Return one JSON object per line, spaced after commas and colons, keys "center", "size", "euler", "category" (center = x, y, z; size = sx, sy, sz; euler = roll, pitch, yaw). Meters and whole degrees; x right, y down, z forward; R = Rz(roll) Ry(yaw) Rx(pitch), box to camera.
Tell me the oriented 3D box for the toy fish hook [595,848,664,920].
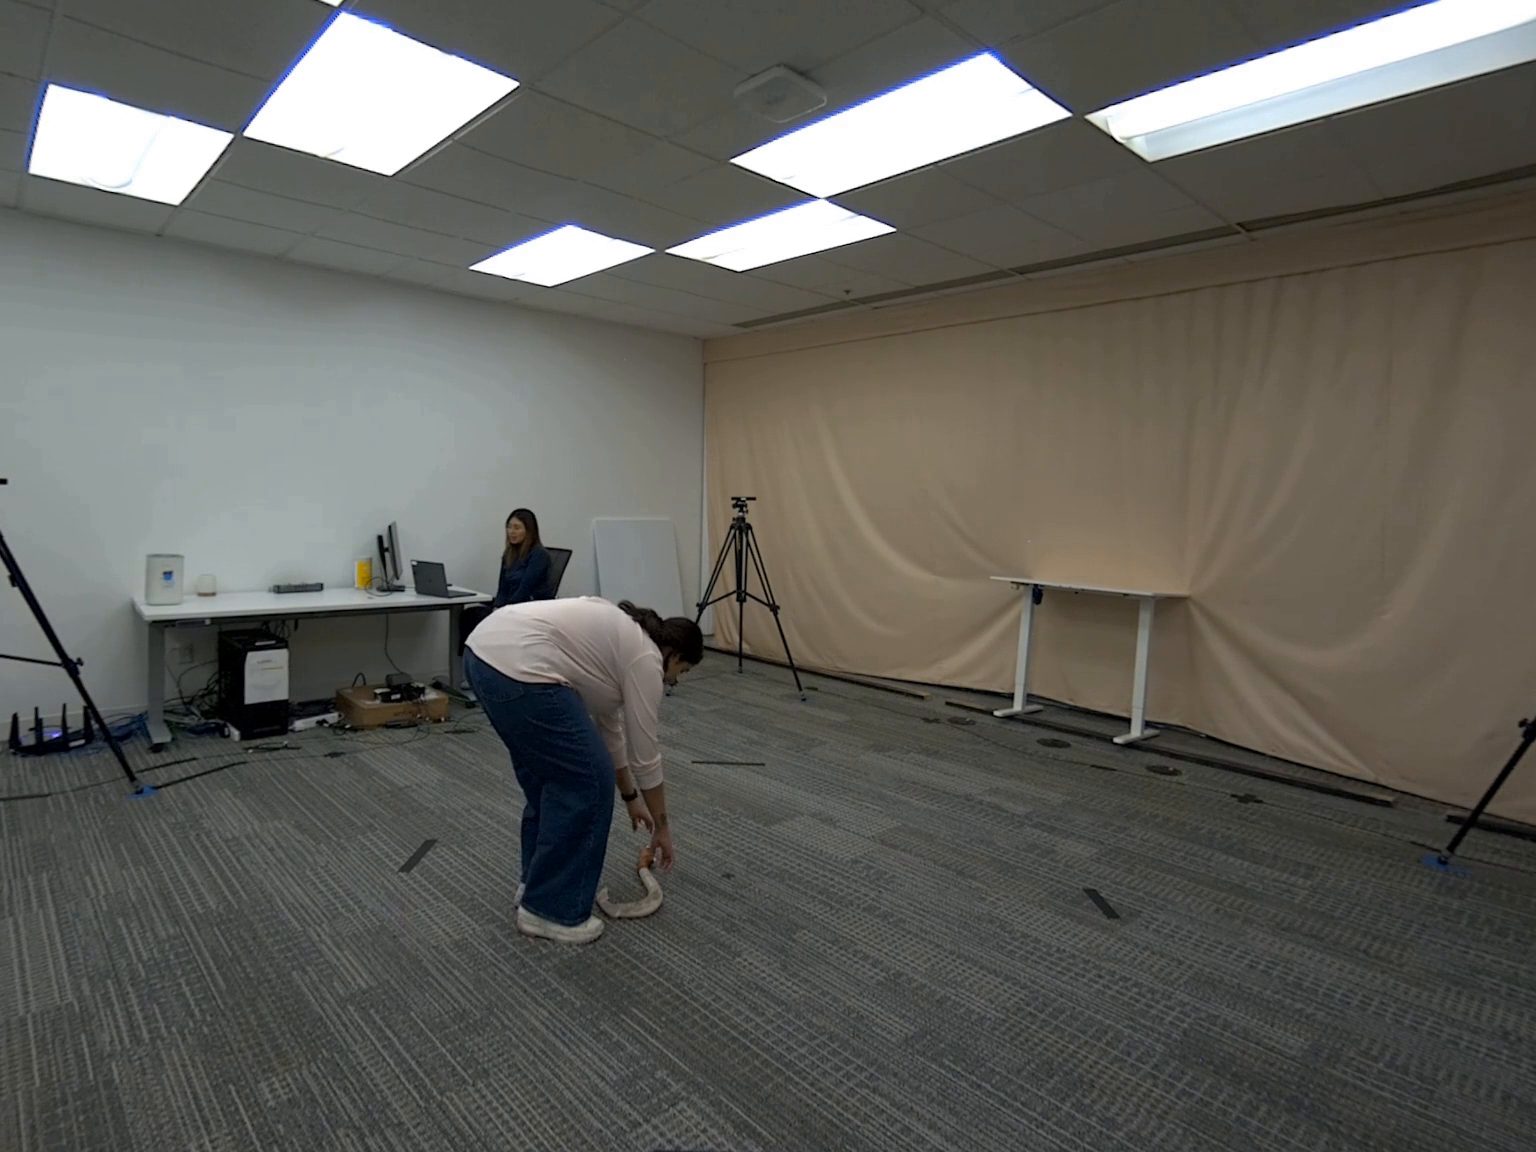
{"center": [-0.497, 1.085, 3.011], "size": [0.223, 0.048, 0.511], "euler": [1, 5, -9], "category": "toy fish hook"}
